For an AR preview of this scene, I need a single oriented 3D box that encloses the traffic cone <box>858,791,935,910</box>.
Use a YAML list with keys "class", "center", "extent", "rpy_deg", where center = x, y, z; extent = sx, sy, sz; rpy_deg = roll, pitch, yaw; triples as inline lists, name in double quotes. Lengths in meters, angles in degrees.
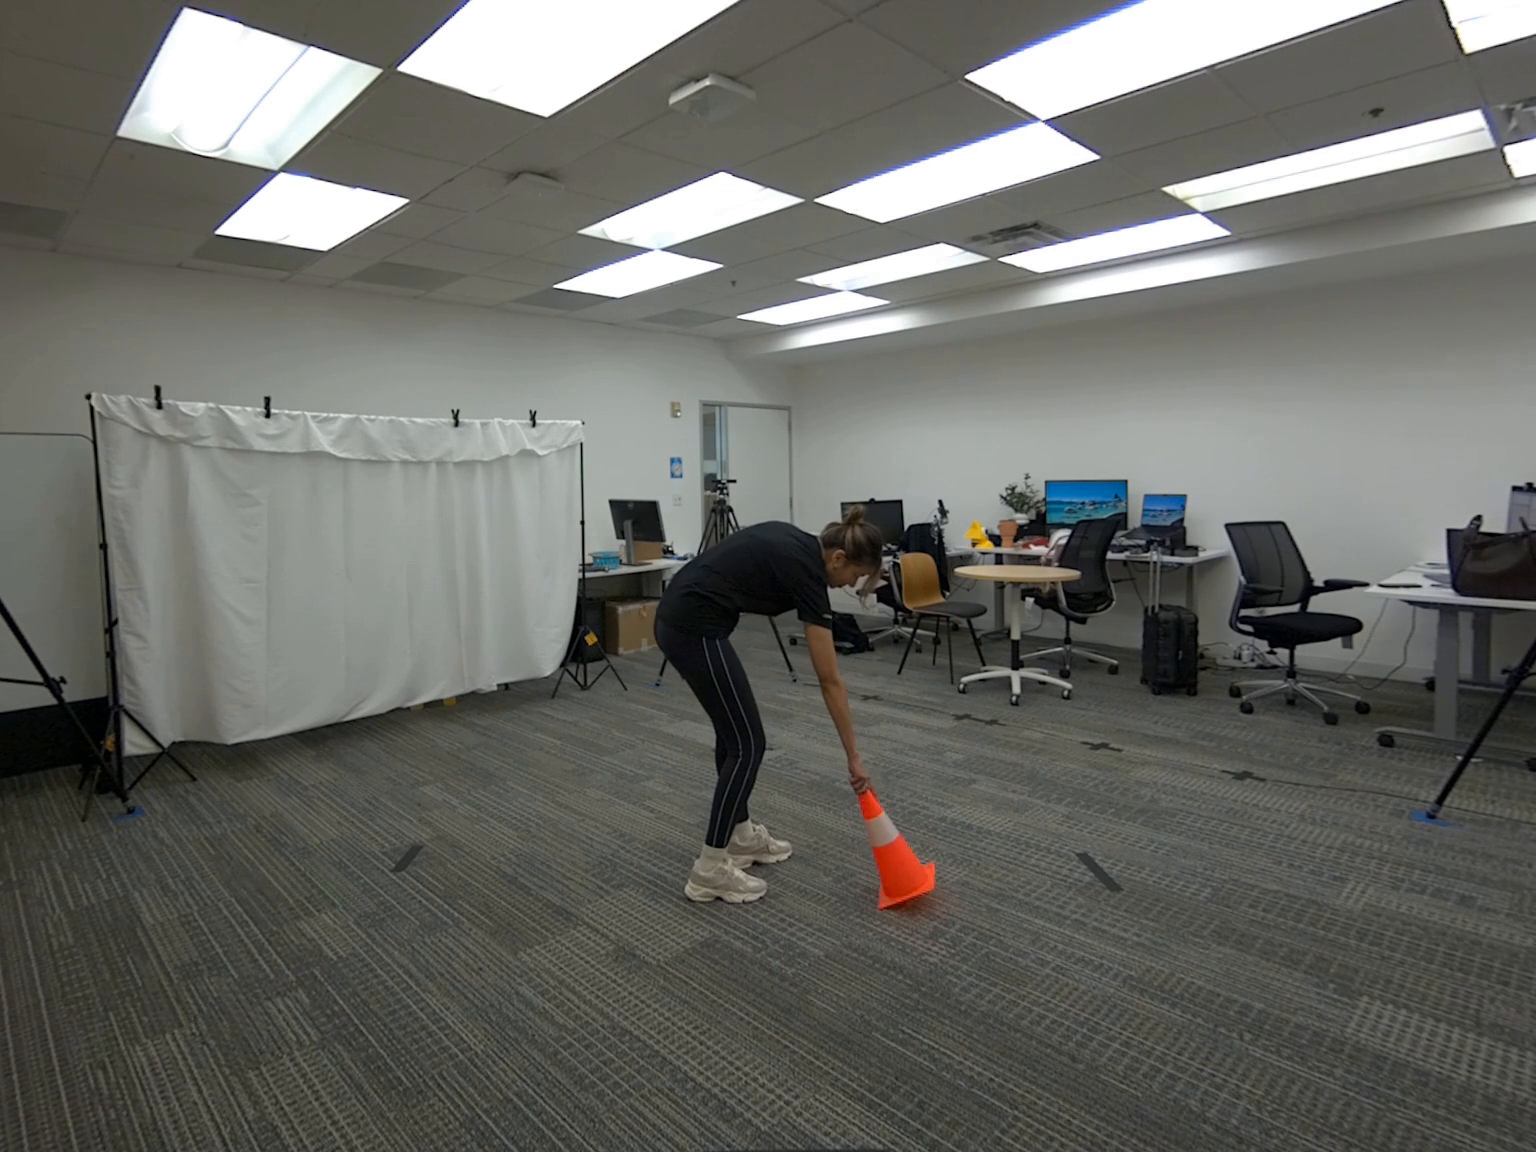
- class: "traffic cone"
  center: [0.372, 0.861, 2.834]
  extent: [0.206, 0.385, 0.201]
  rpy_deg: [-25, -3, 15]
